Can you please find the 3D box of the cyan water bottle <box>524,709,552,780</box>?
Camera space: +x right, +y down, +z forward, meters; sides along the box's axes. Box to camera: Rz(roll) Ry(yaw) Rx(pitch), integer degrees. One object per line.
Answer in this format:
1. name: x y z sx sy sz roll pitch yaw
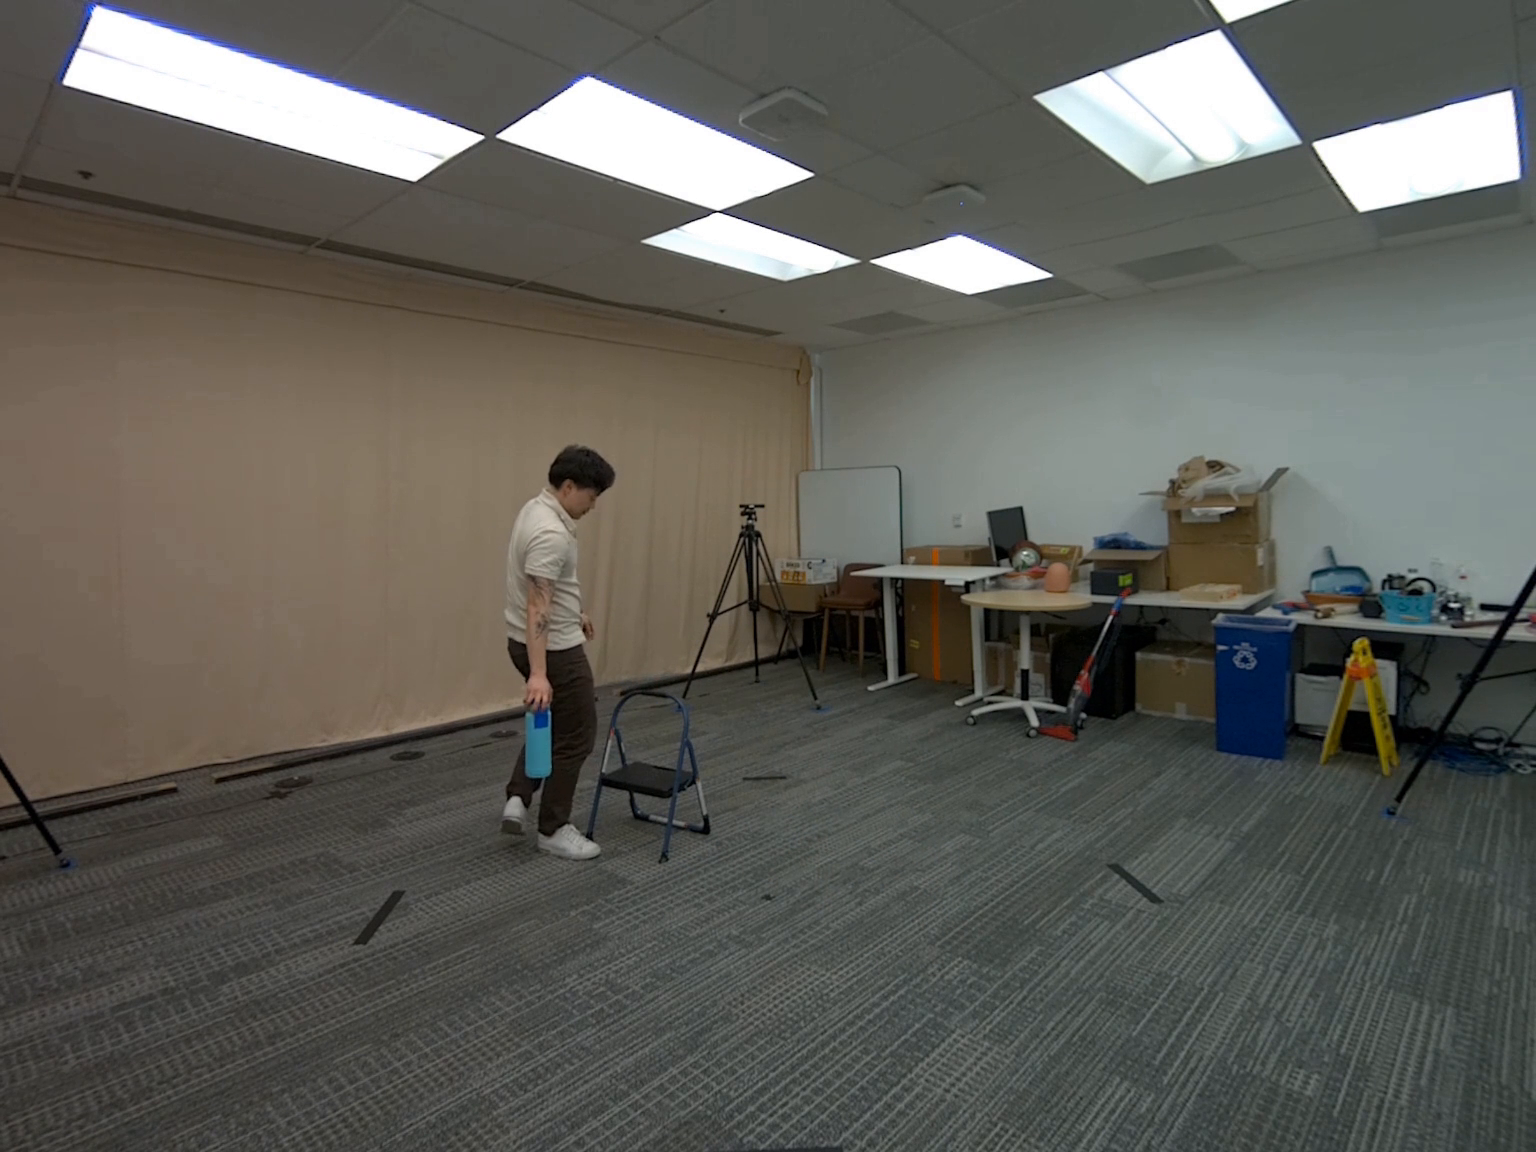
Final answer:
1. cyan water bottle: -0.803 0.558 2.968 0.092 0.283 0.092 1 2 -2
